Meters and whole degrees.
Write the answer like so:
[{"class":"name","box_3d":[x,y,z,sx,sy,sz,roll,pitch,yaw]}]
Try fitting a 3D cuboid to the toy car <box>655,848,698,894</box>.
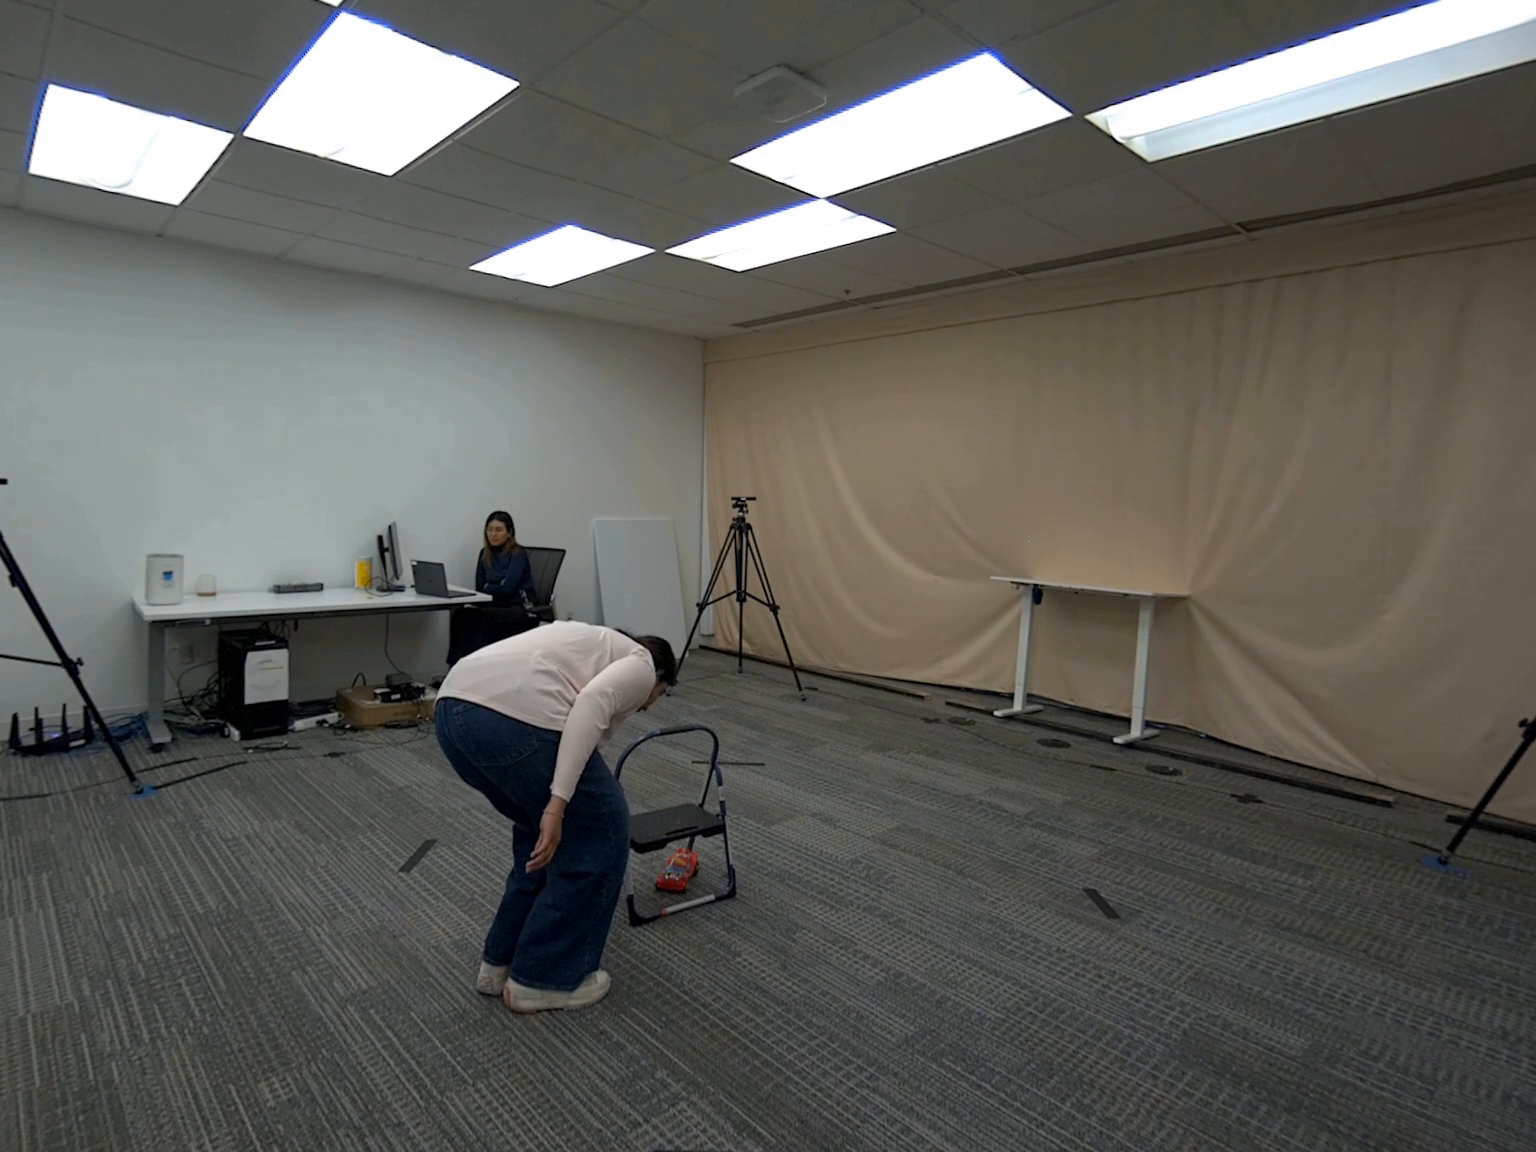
[{"class":"toy car","box_3d":[-0.335,1.075,3.060,0.131,0.082,0.255,3,17,9]}]
